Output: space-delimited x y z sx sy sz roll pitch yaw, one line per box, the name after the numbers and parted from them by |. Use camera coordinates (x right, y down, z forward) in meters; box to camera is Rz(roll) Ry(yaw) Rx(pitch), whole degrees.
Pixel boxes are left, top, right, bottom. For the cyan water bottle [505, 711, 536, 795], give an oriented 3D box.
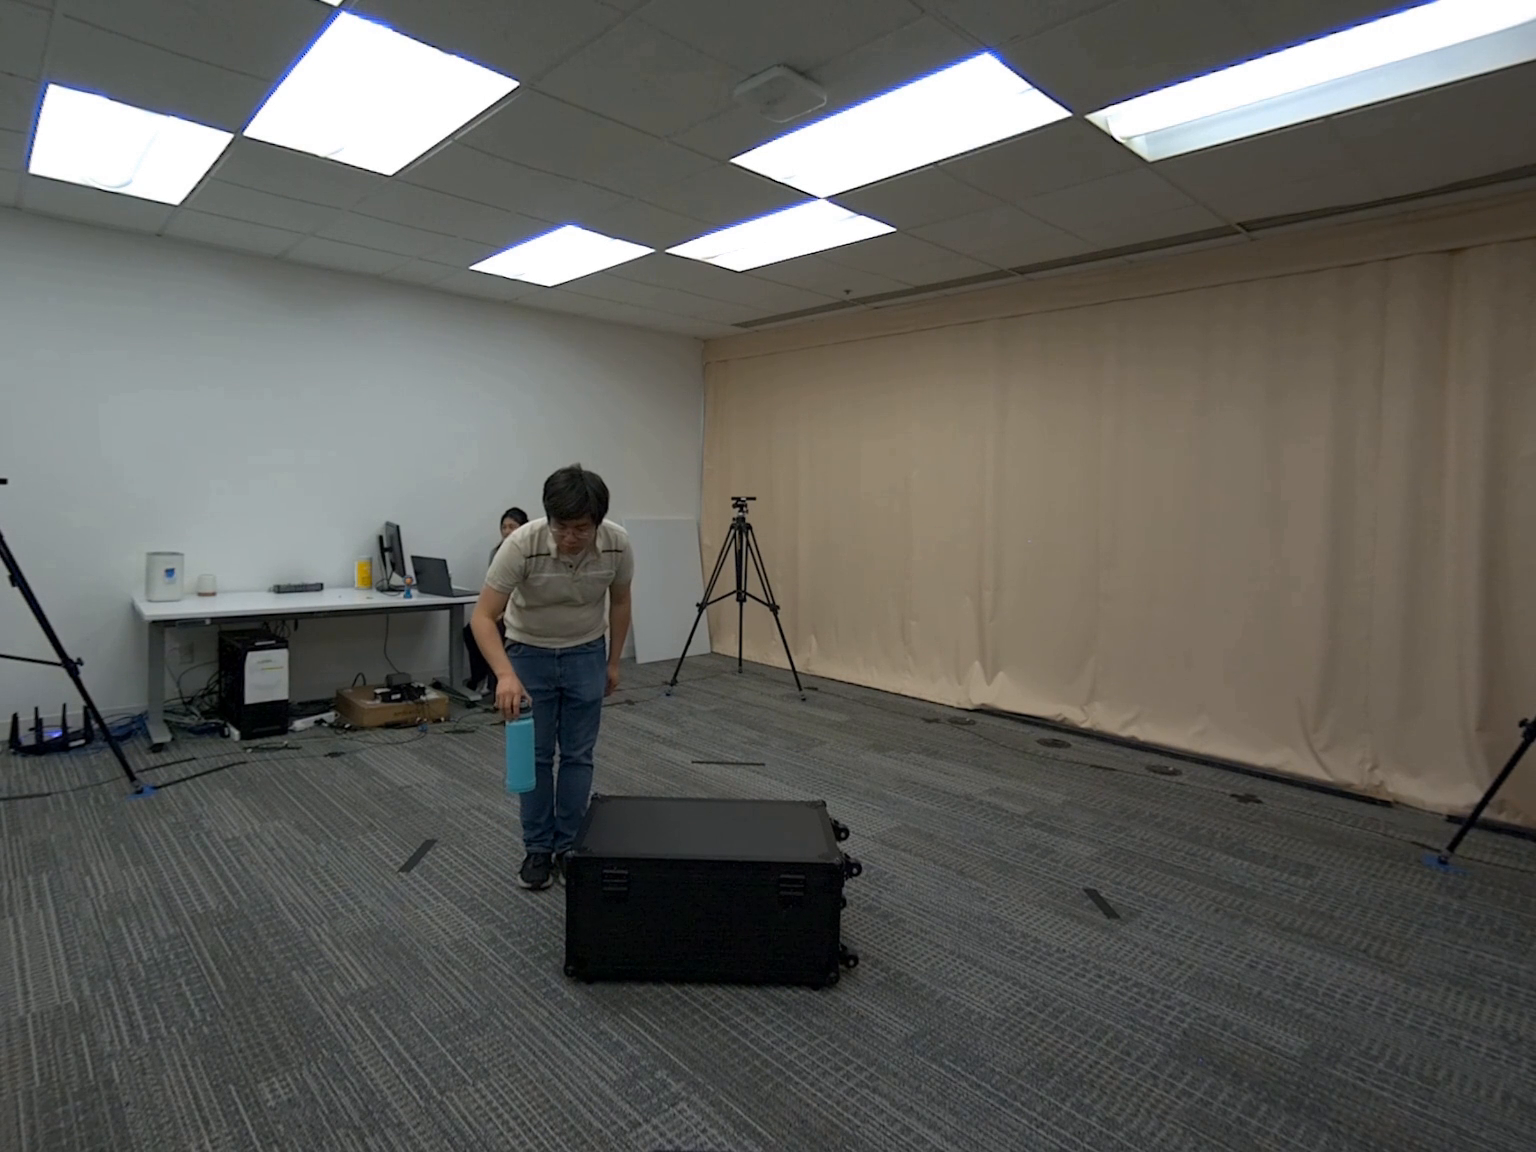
-0.809 0.542 2.682 0.092 0.283 0.092 0 1 -1 | cyan water bottle
